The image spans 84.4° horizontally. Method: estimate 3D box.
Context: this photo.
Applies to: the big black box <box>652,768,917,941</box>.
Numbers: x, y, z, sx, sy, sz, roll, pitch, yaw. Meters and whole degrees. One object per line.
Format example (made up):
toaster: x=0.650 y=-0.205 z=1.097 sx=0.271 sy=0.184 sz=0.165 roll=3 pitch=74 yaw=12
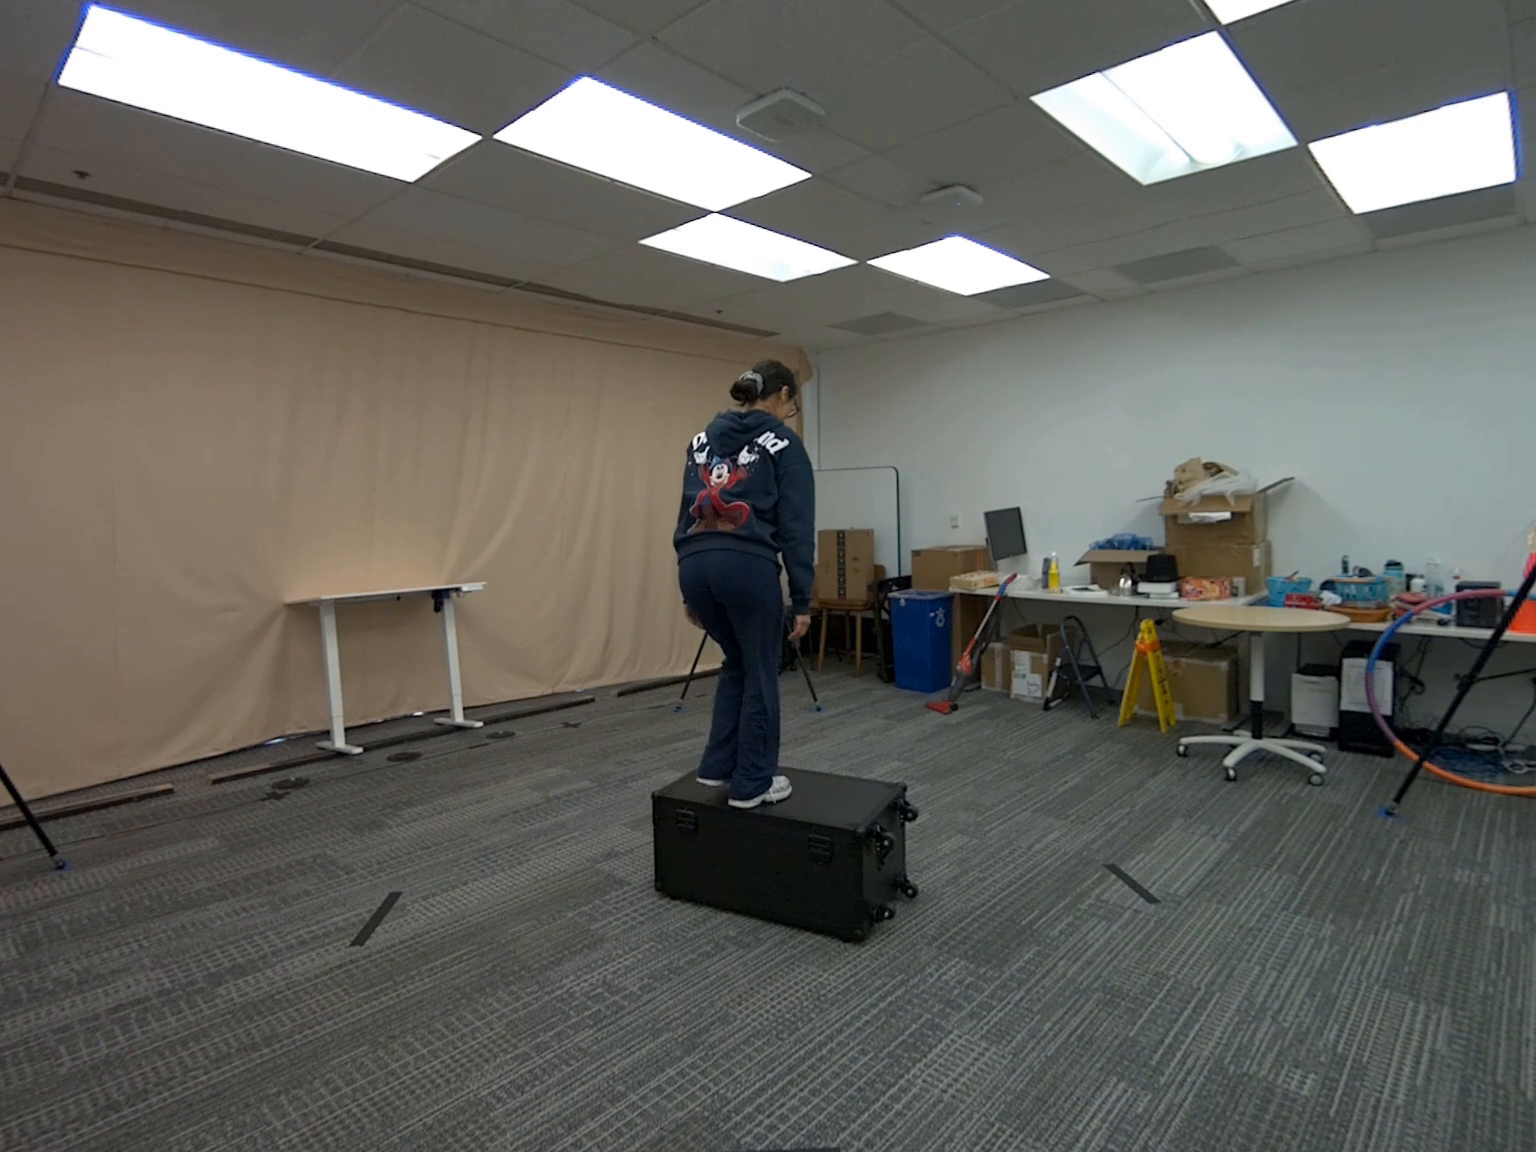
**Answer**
big black box: x=0.077 y=0.949 z=3.000 sx=0.885 sy=0.395 sz=0.508 roll=1 pitch=4 yaw=27
